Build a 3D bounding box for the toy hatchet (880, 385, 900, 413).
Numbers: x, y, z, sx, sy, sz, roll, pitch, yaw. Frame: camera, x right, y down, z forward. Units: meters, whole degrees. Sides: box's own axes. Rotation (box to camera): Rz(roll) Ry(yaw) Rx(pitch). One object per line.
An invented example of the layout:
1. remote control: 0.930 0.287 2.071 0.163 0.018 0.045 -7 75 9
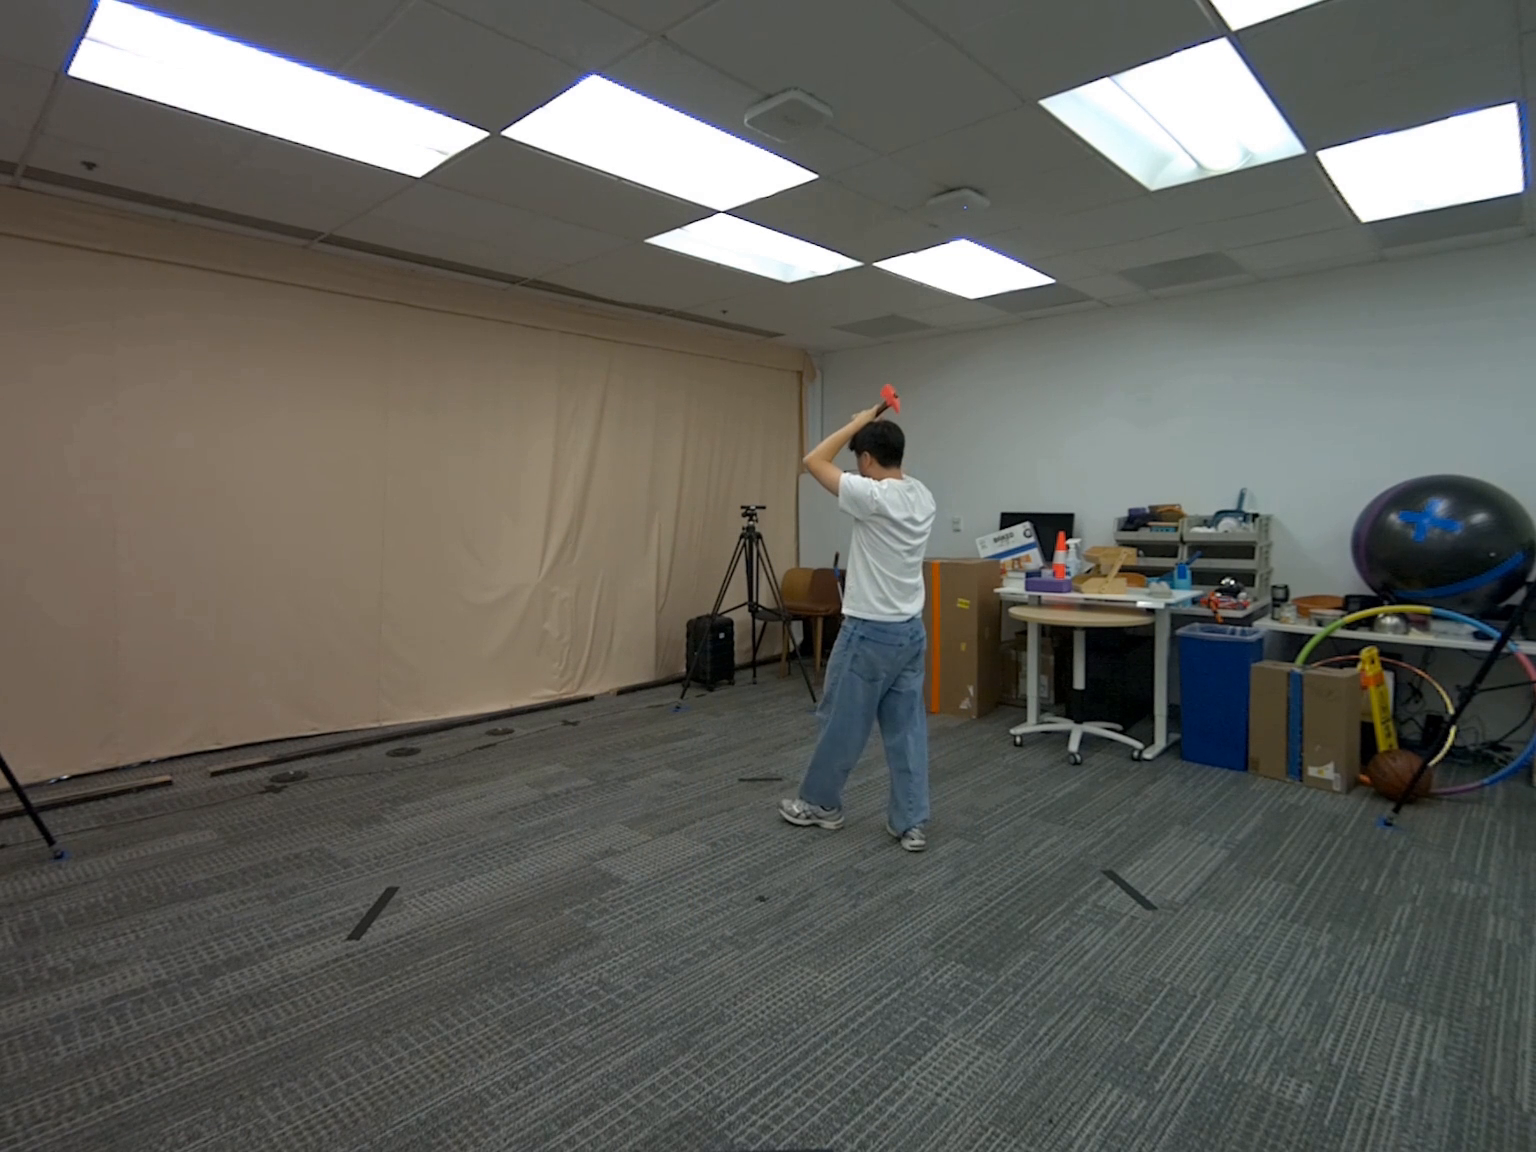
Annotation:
1. toy hatchet: 0.444 -0.709 3.479 0.029 0.131 0.277 -9 1 -31
